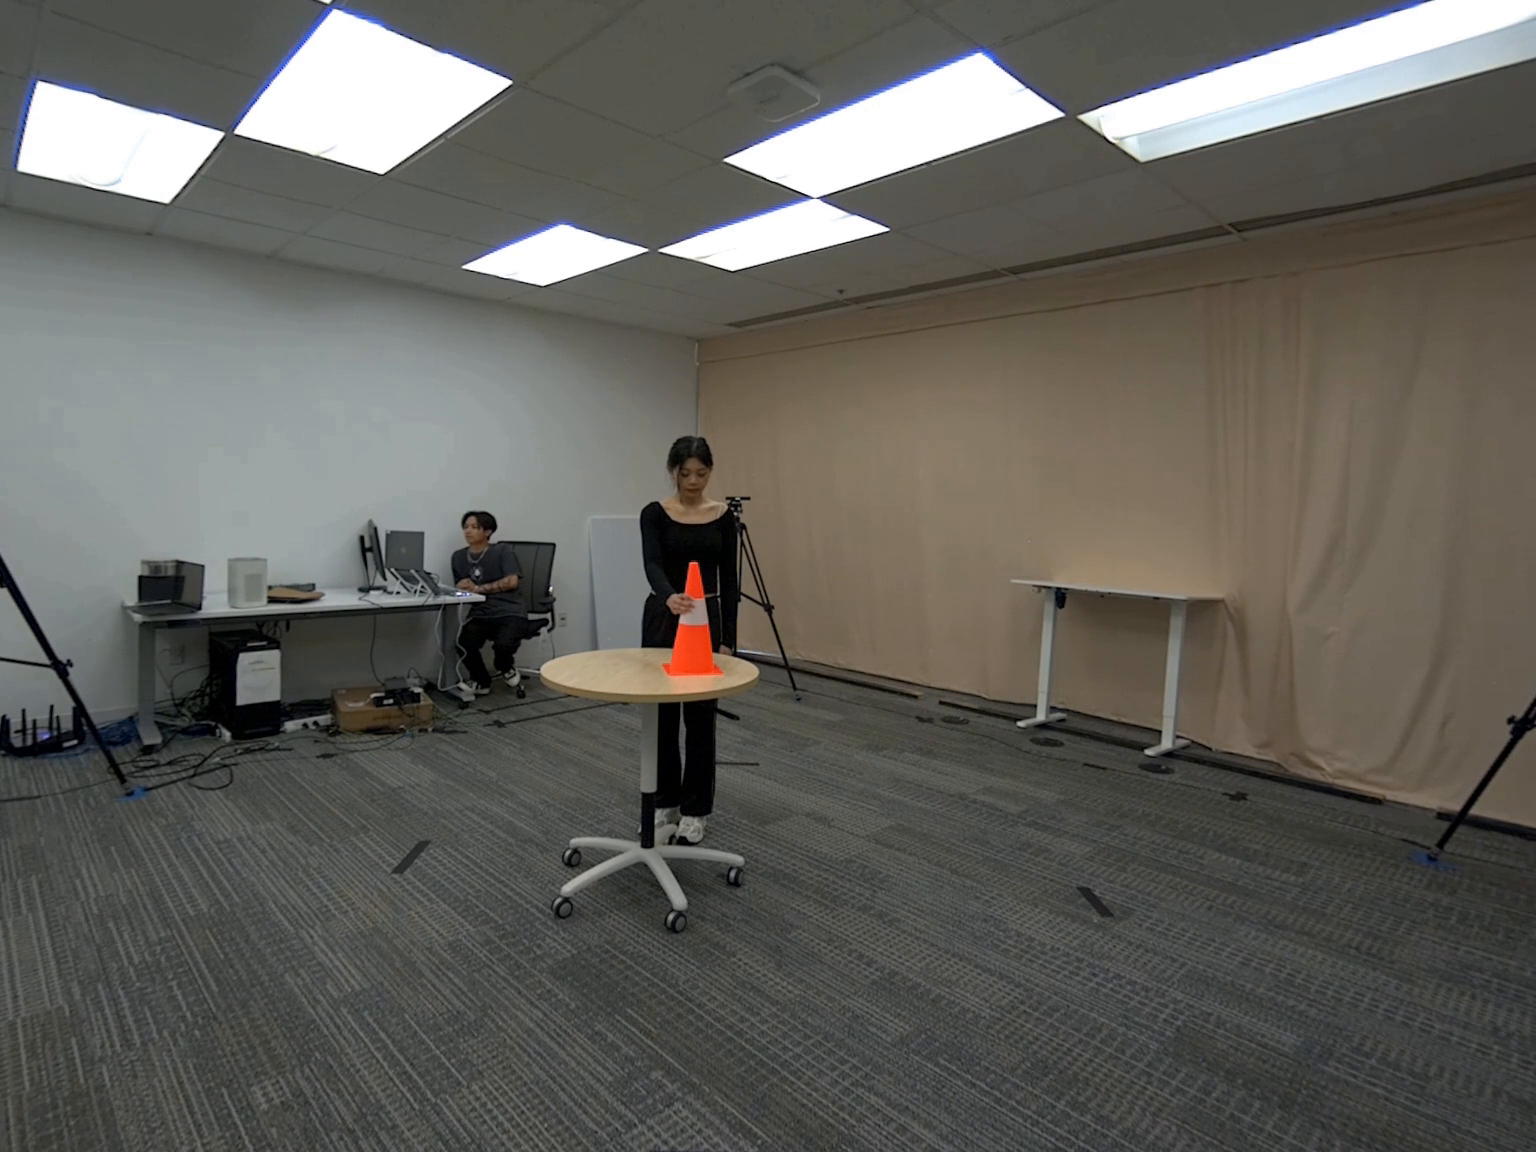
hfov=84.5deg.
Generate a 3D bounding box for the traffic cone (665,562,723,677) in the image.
[{"bbox_3d":[-0.279,0.144,2.964,0.203,0.382,0.206,0,5,-14],"label":"traffic cone"}]
